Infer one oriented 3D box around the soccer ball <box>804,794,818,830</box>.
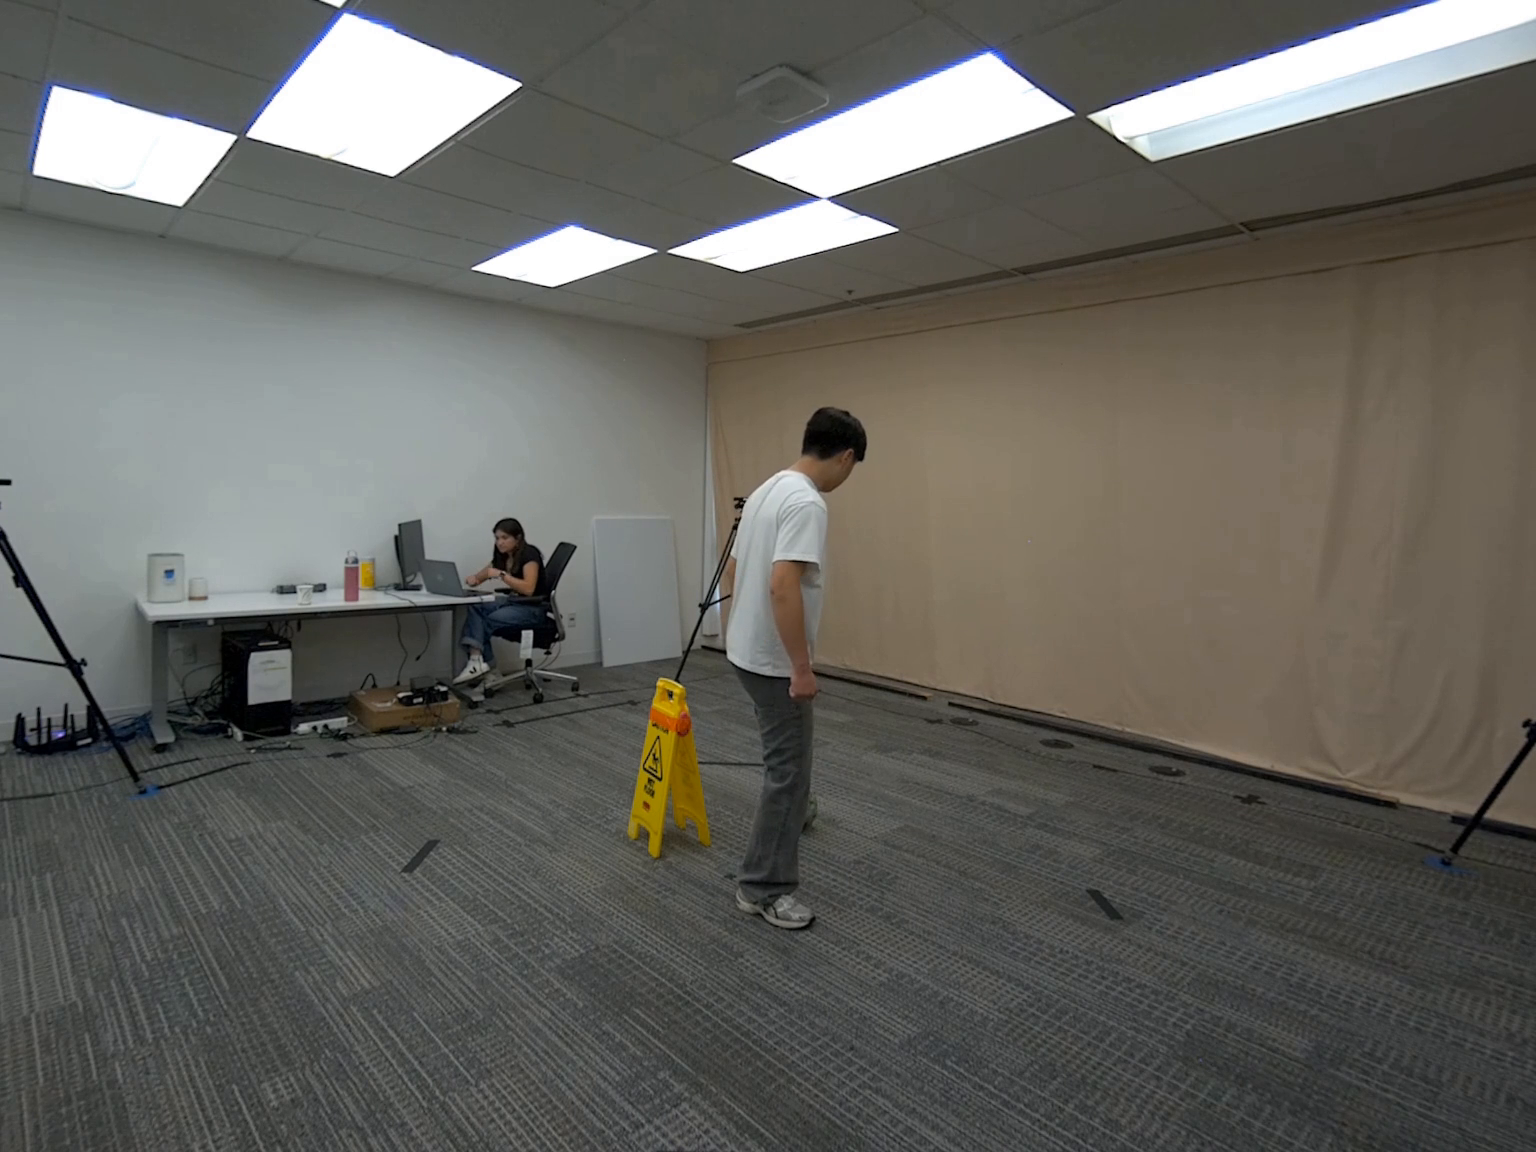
[{"bbox_3d":[0.103,1.000,3.558,0.187,0.187,0.188,1,4,-1],"label":"soccer ball"}]
